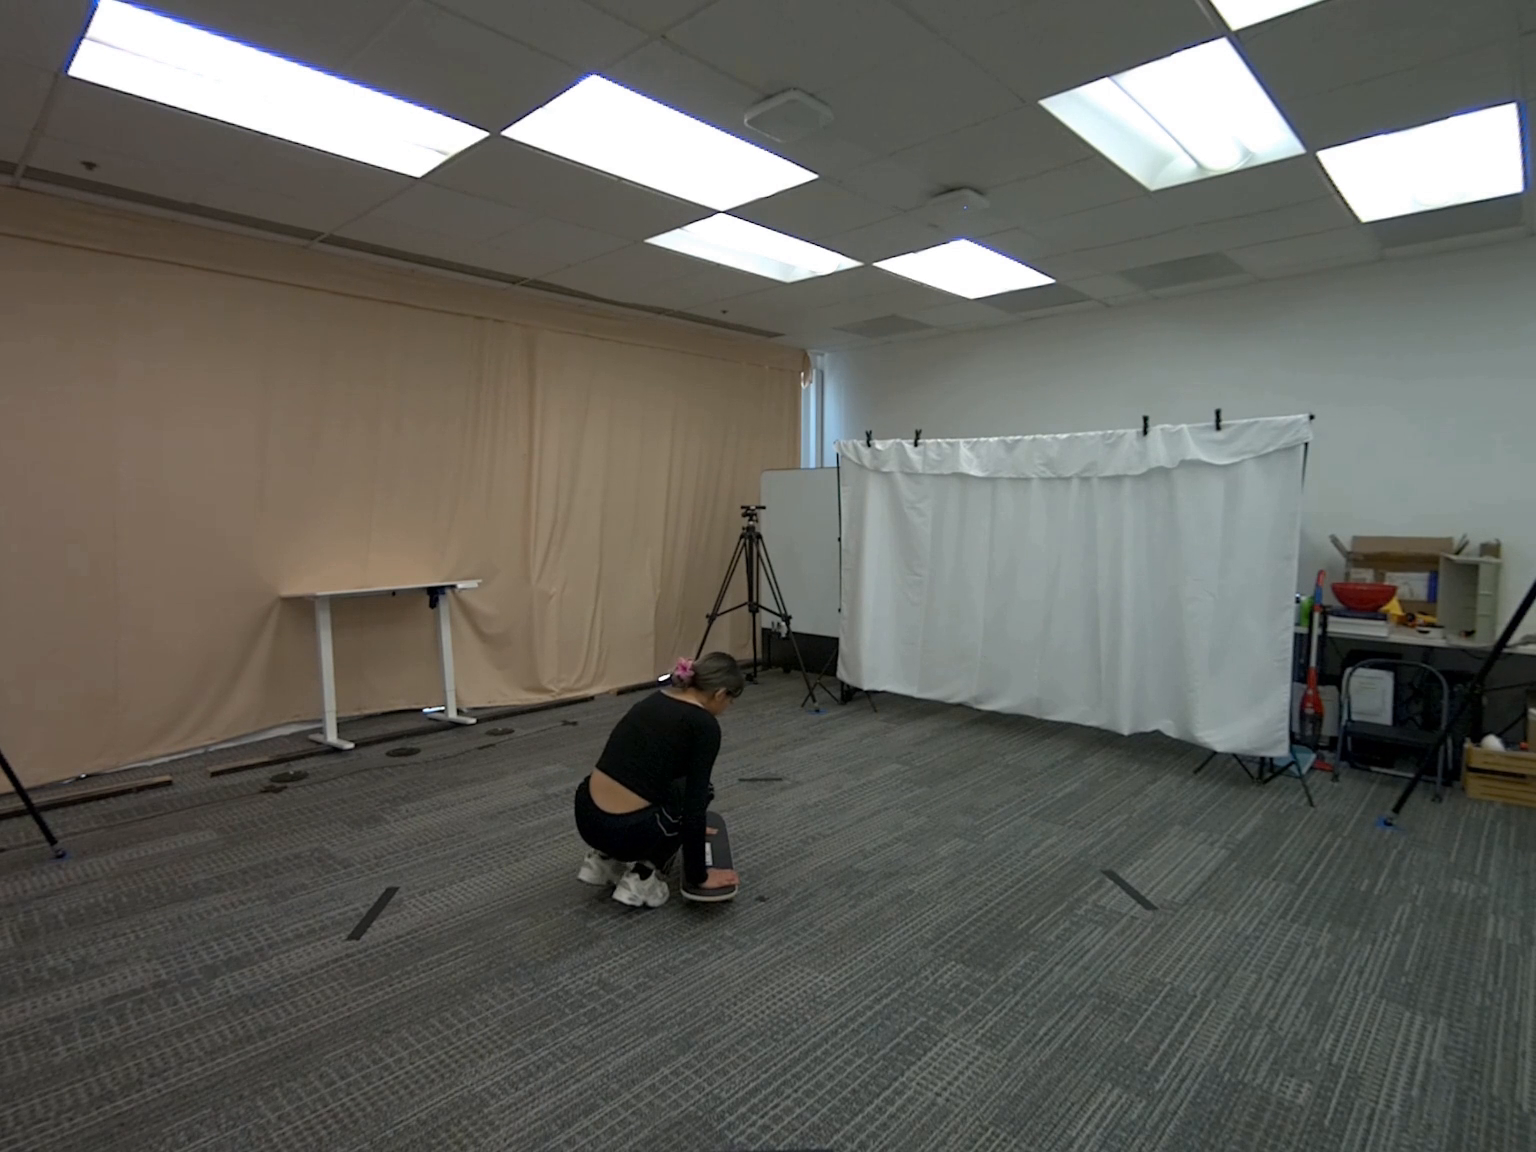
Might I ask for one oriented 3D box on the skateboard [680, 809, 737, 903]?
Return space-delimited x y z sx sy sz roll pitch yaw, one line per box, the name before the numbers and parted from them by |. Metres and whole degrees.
skateboard | -0.231 1.071 3.161 0.192 0.110 0.792 -2 6 -6
